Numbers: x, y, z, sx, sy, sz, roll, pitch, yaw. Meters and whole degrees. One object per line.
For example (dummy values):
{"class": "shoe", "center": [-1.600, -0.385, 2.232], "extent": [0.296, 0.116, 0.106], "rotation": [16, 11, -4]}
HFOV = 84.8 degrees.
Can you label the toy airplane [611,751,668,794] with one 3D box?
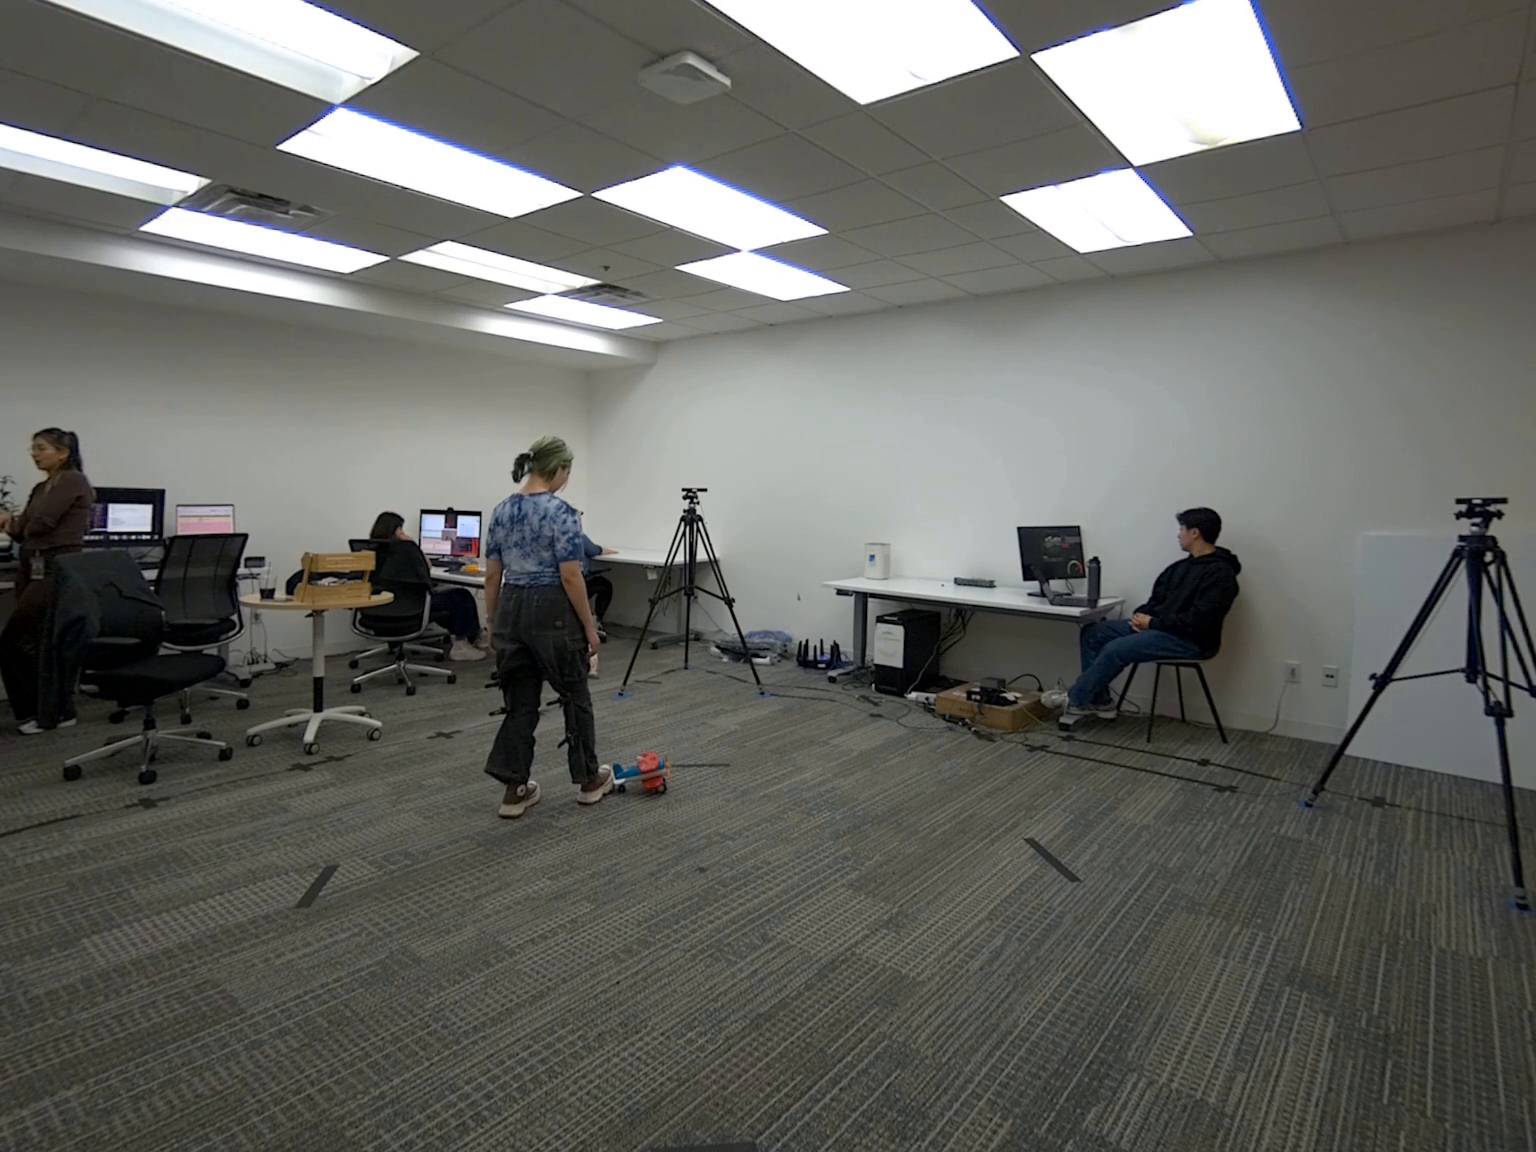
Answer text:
{"class": "toy airplane", "center": [-0.593, 0.918, 3.904], "extent": [0.252, 0.156, 0.259], "rotation": [0, 6, -32]}
